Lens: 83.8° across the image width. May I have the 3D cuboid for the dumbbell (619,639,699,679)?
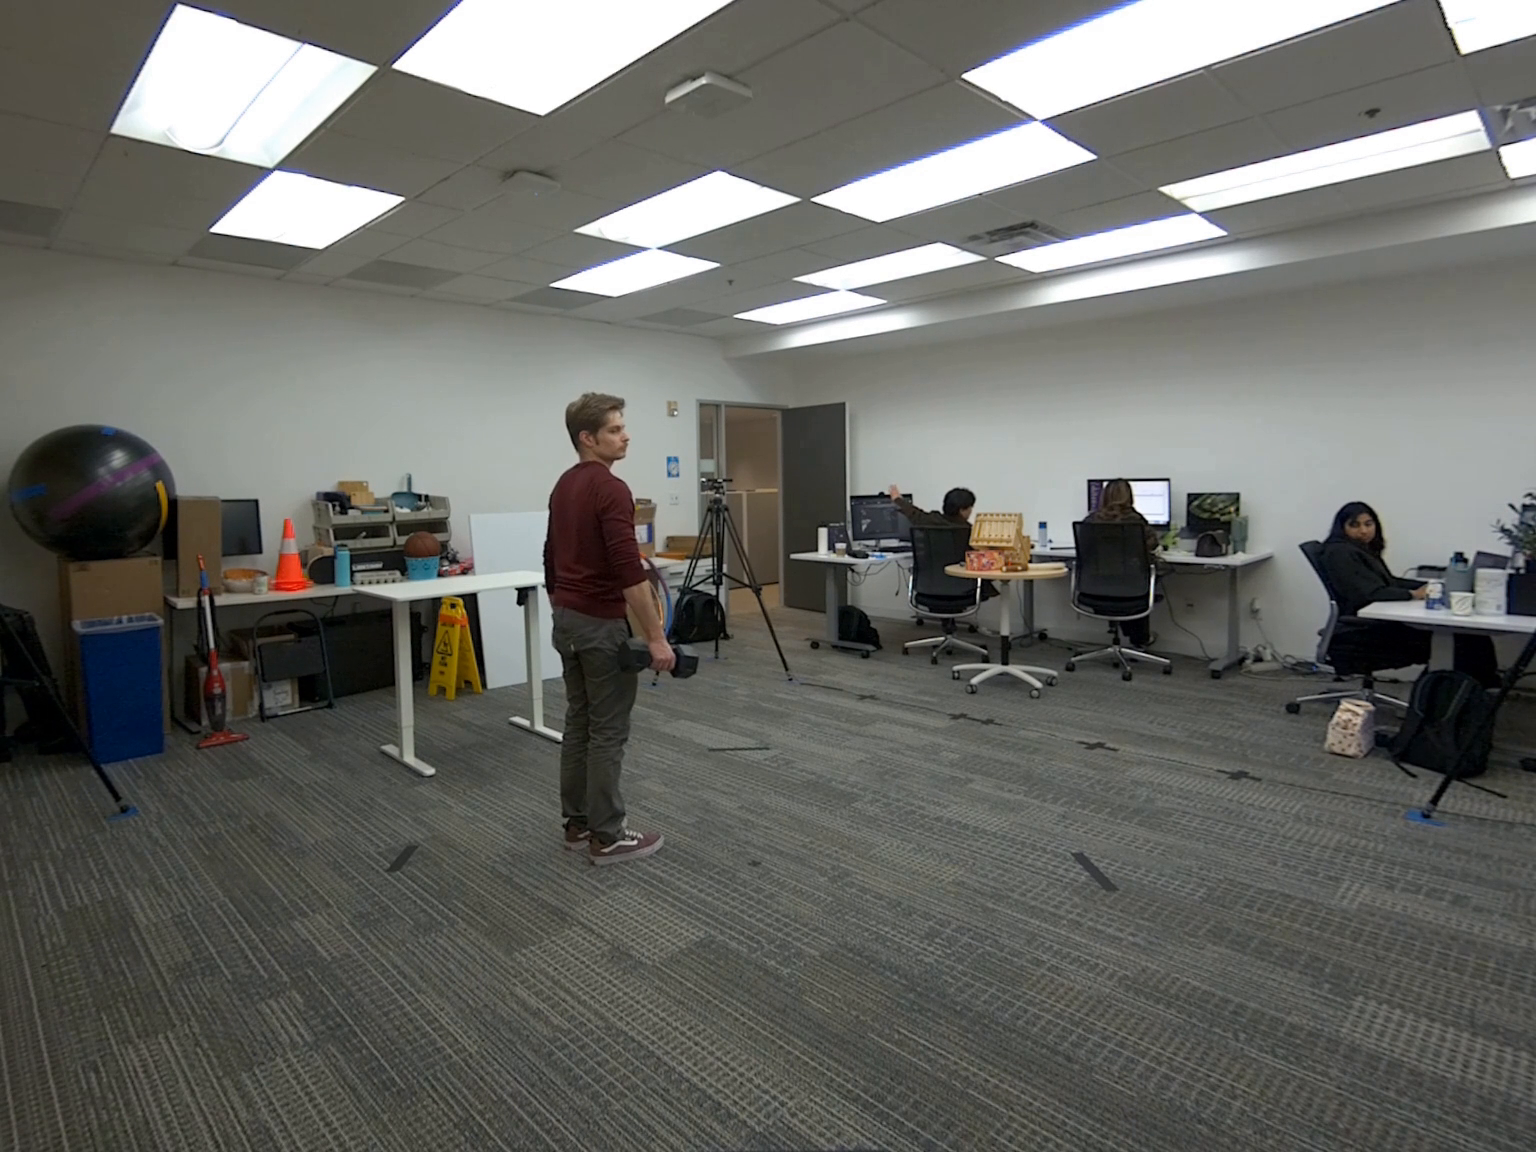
[{"bbox_3d":[-0.393,0.289,3.082,0.285,0.123,0.112,10,-3,-34],"label":"dumbbell"}]
